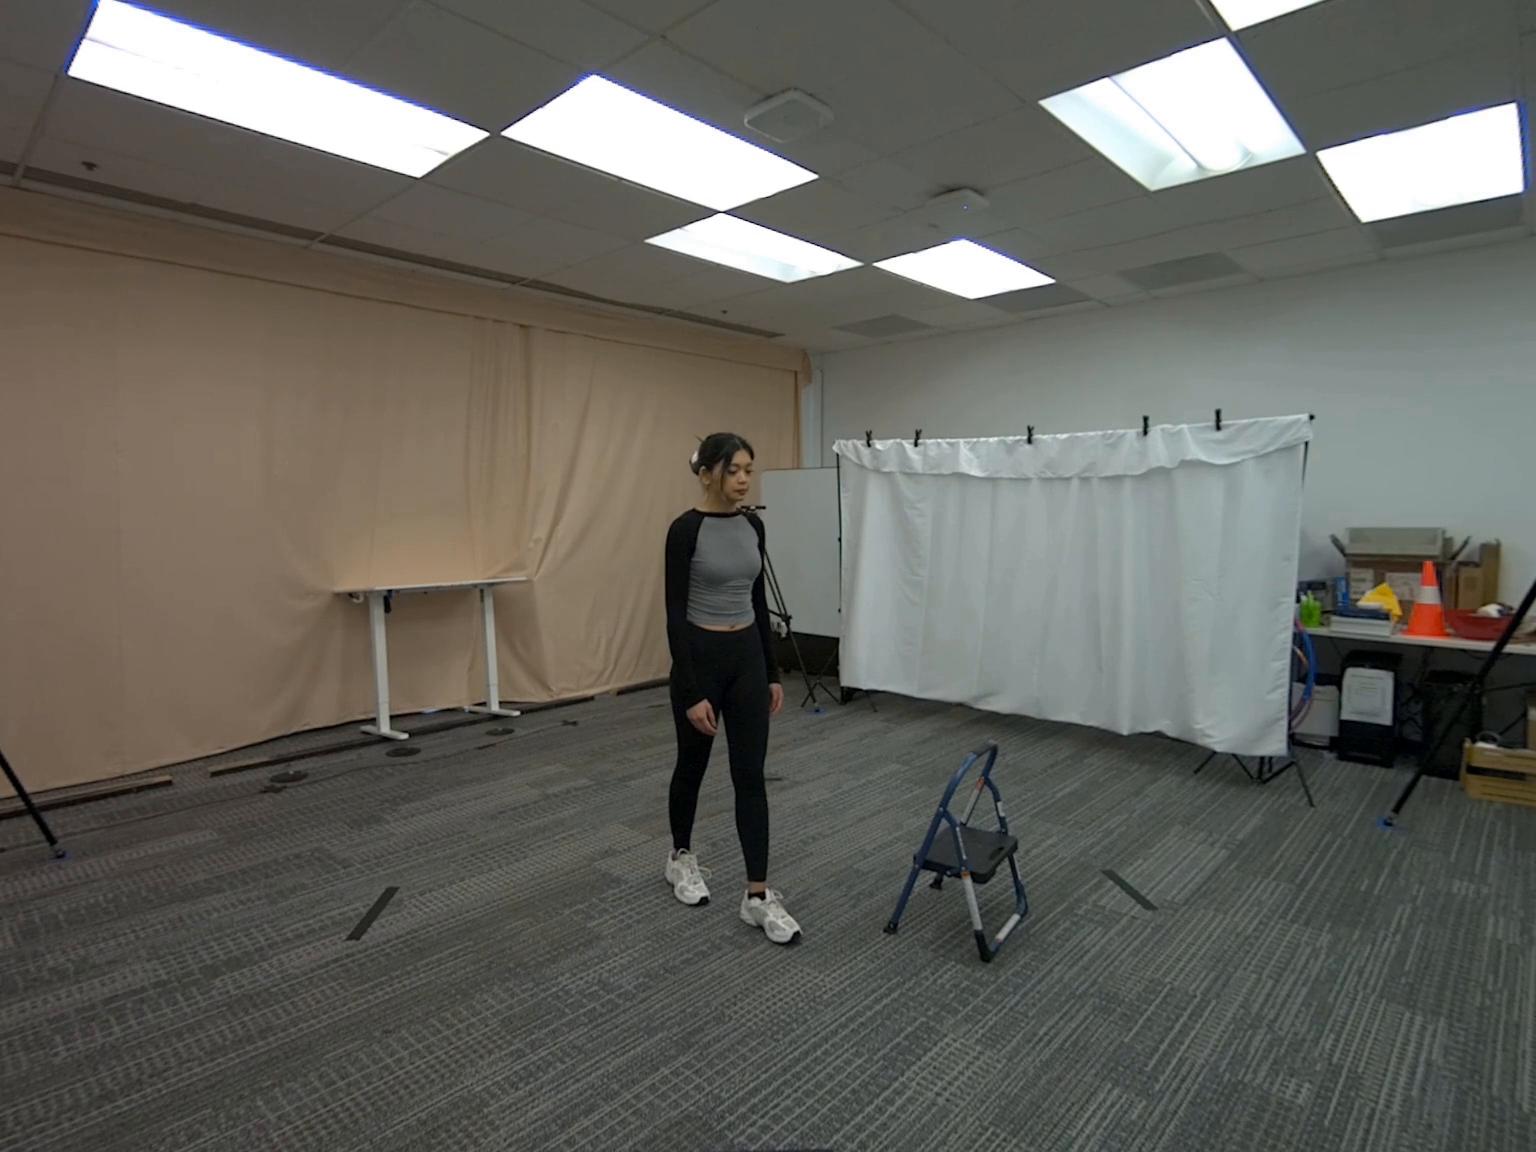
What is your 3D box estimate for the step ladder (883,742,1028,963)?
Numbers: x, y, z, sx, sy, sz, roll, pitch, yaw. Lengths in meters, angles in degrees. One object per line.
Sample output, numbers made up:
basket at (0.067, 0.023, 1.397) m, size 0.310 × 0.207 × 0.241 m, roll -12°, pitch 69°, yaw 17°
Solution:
step ladder at (0.643, 0.853, 2.799) m, size 0.360 × 0.604 × 0.418 m, roll 3°, pitch 5°, yaw 34°
